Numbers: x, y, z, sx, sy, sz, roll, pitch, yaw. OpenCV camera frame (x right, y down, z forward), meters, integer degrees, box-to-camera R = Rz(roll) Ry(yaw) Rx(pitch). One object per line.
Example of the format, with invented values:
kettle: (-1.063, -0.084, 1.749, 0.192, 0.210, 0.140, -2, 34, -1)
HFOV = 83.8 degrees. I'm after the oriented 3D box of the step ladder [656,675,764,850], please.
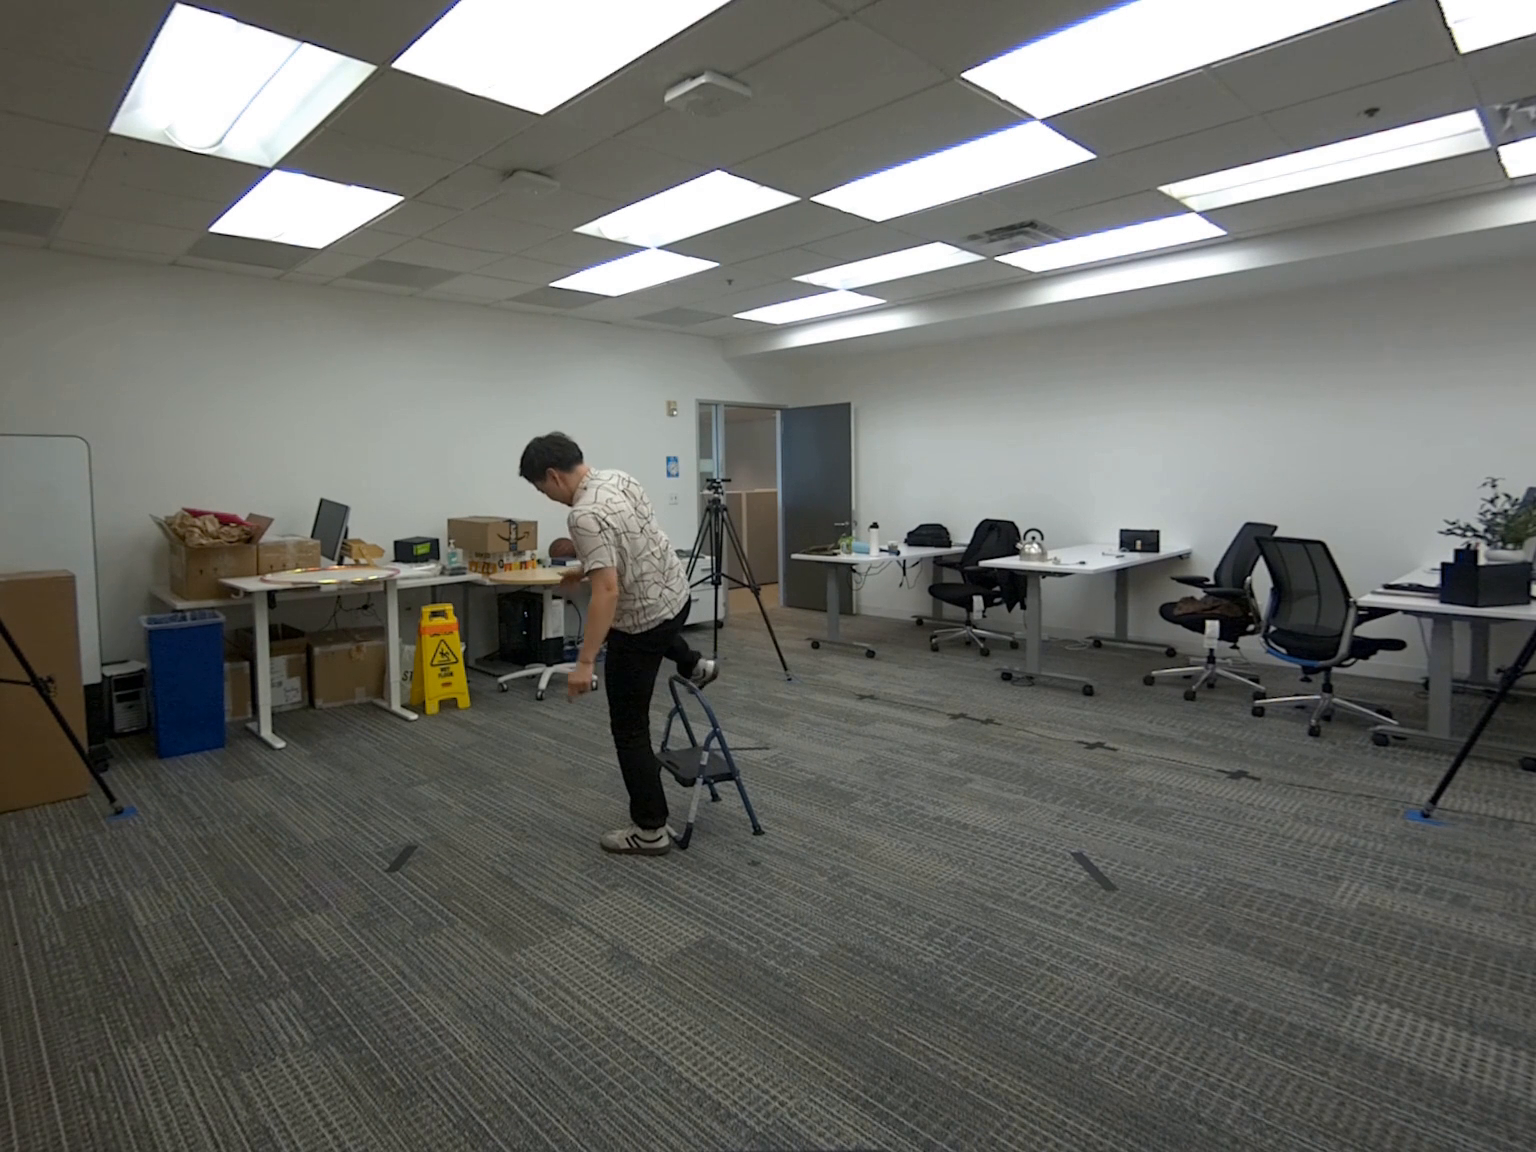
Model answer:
step ladder: (-0.271, 0.704, 3.465, 0.341, 0.604, 0.442, -3, 5, -28)
